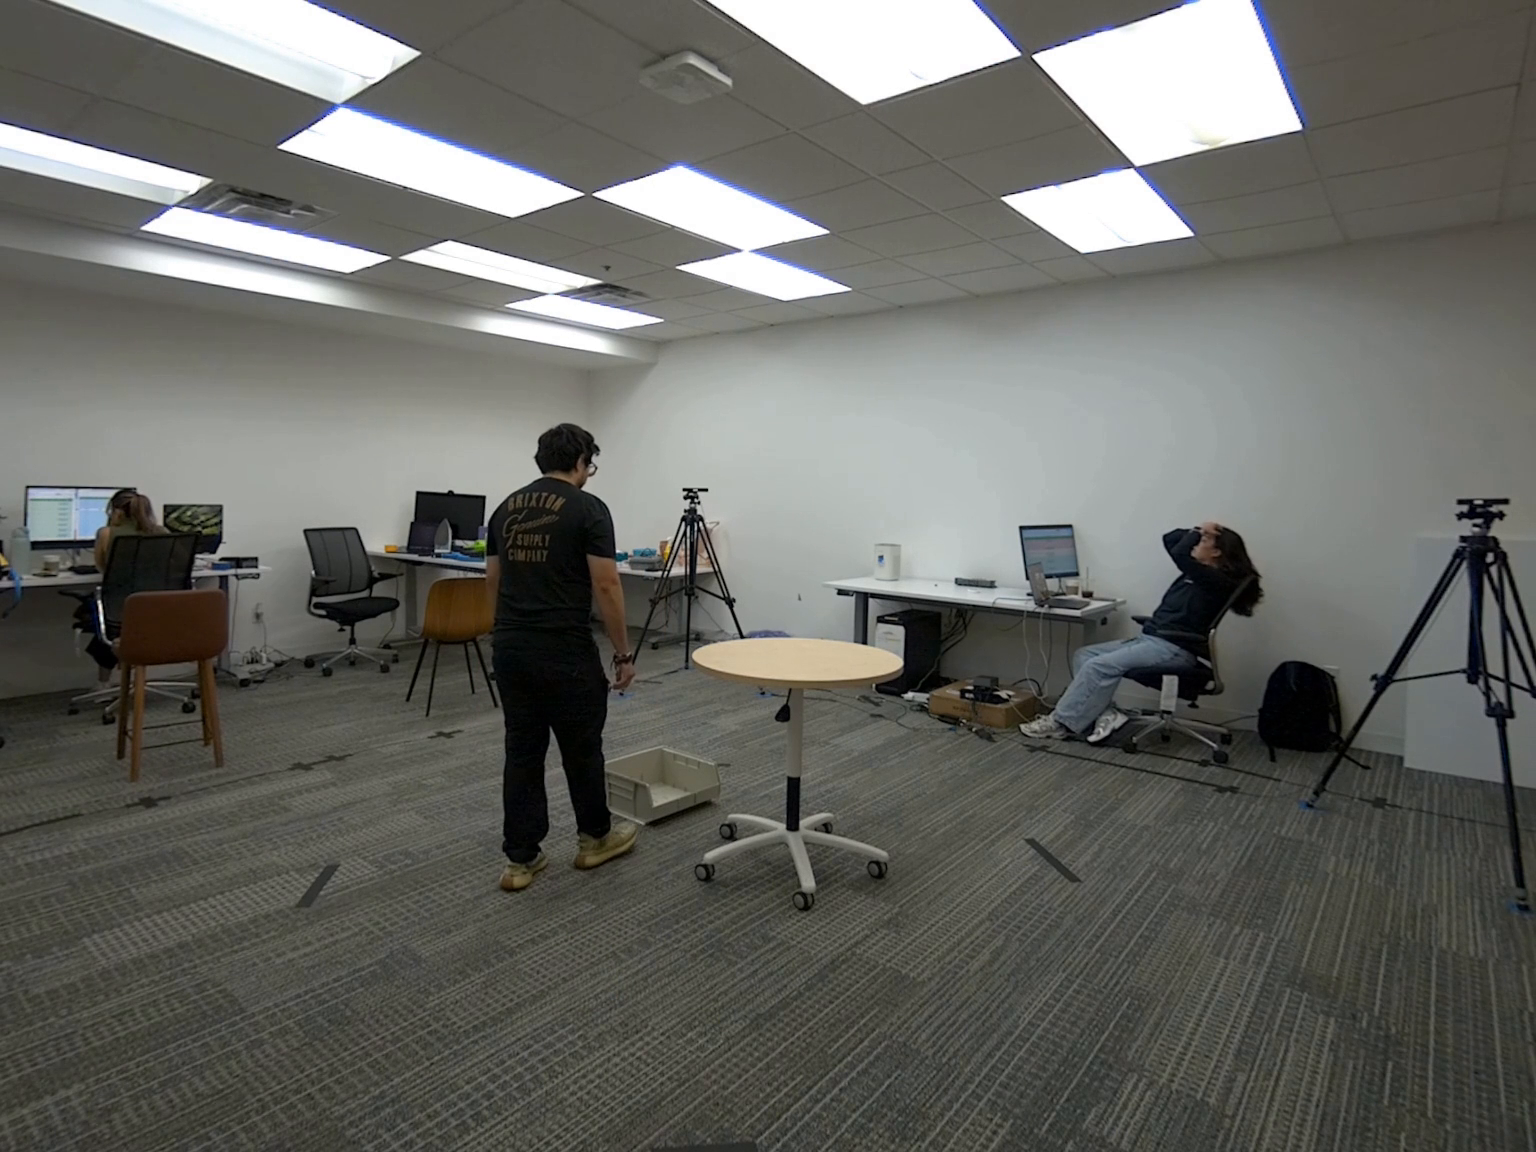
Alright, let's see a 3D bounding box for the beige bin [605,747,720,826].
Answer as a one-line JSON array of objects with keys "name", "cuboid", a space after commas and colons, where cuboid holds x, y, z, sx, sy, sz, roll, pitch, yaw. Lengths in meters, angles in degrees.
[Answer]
[{"name": "beige bin", "cuboid": [-0.495, 0.916, 3.738, 0.390, 0.188, 0.410, 4, 6, 41]}]
